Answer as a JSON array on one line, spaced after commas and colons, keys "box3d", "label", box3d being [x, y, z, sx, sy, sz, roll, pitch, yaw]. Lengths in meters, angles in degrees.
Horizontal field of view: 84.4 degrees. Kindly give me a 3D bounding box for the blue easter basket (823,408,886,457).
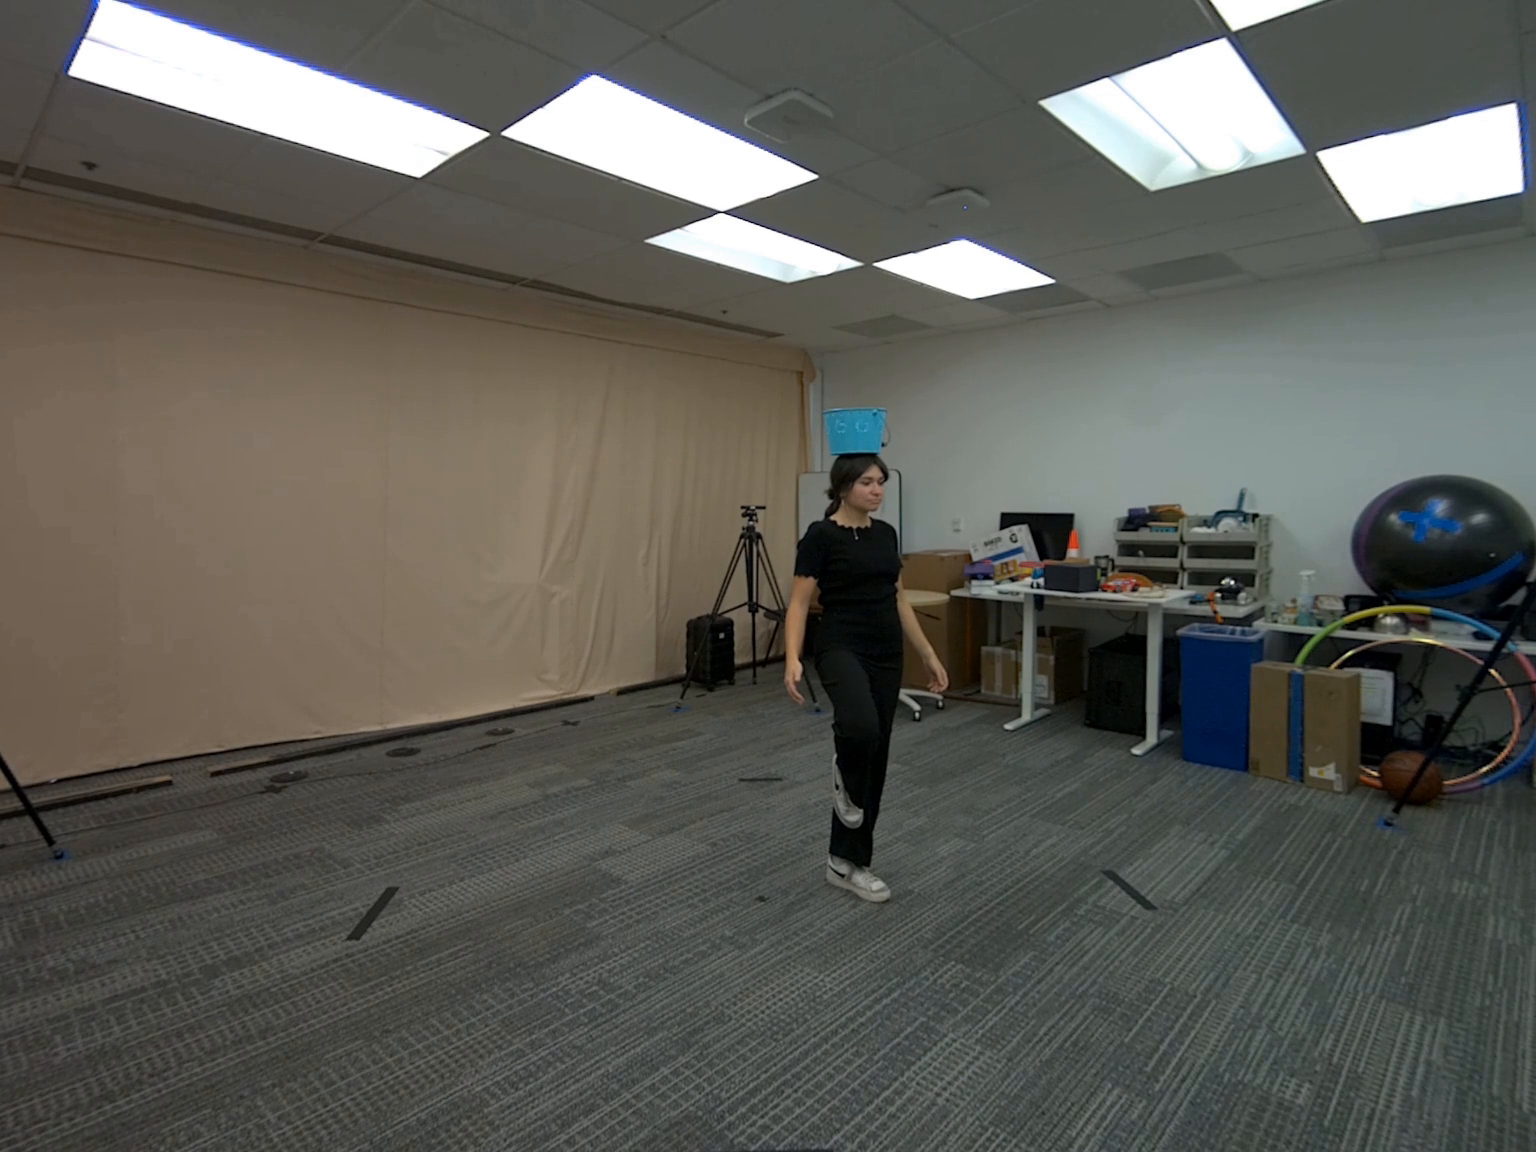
[{"box3d": [0.324, -0.518, 3.033, 0.243, 0.155, 0.244, 0, 5, -2], "label": "blue easter basket"}]
